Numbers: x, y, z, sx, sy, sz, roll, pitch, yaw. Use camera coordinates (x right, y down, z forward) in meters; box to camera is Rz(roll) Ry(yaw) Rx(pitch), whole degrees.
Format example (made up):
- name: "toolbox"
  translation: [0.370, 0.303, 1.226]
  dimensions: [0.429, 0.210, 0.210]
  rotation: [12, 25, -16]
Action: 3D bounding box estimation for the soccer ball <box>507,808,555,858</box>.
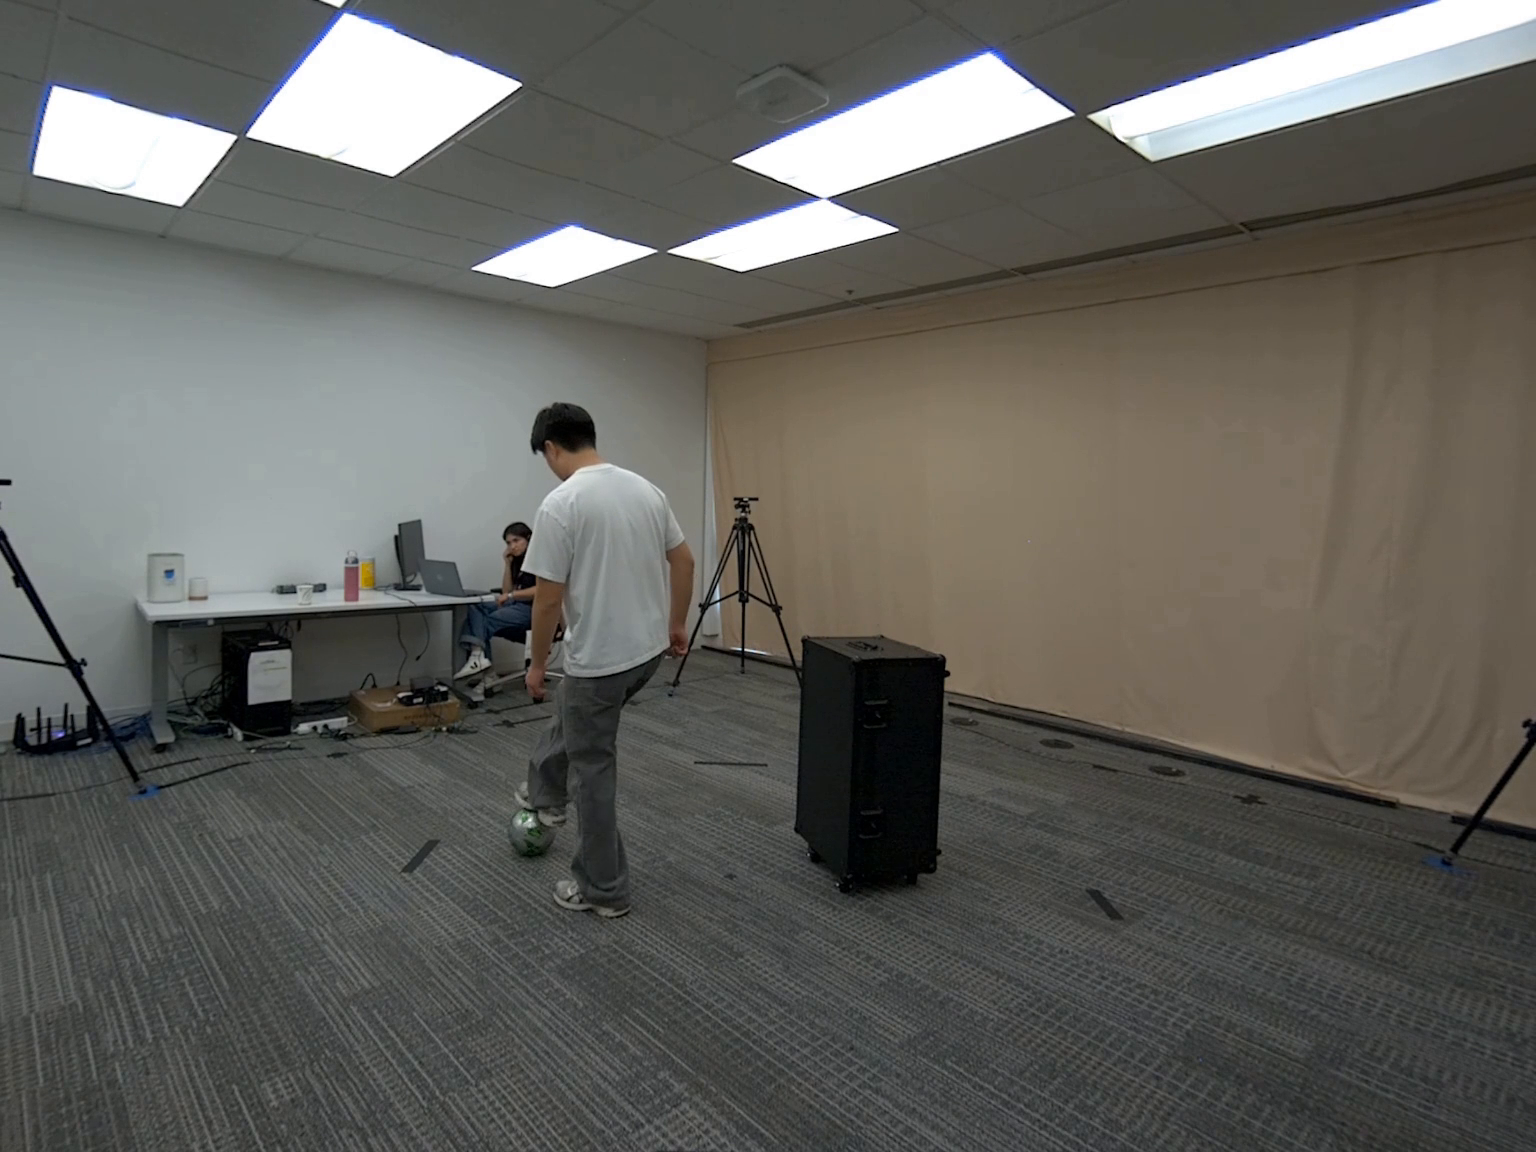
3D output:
- name: "soccer ball"
  translation: [-0.899, 0.979, 3.262]
  dimensions: [0.187, 0.187, 0.188]
  rotation: [1, 4, -1]
